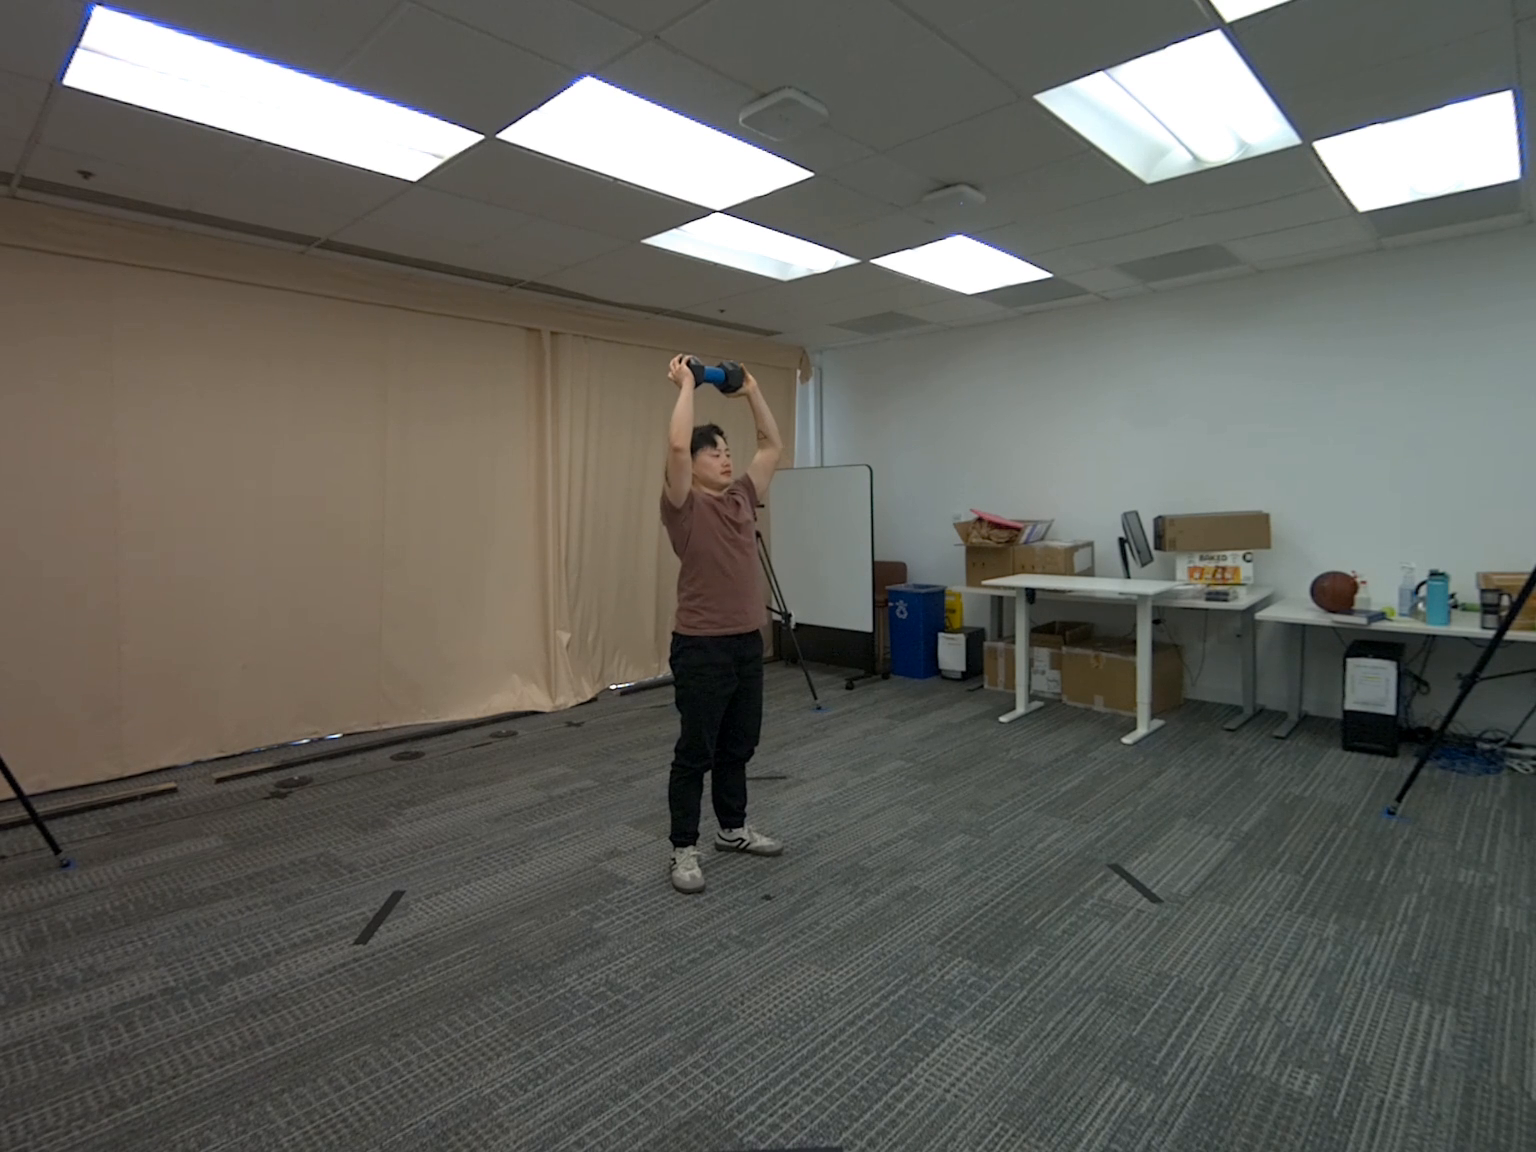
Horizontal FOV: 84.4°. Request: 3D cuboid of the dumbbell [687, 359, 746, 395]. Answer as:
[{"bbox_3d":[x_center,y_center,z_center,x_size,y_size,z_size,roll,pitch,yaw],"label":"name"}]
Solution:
[{"bbox_3d":[-0.216,-0.746,3.157,0.285,0.108,0.127,-8,46,-46],"label":"dumbbell"}]
